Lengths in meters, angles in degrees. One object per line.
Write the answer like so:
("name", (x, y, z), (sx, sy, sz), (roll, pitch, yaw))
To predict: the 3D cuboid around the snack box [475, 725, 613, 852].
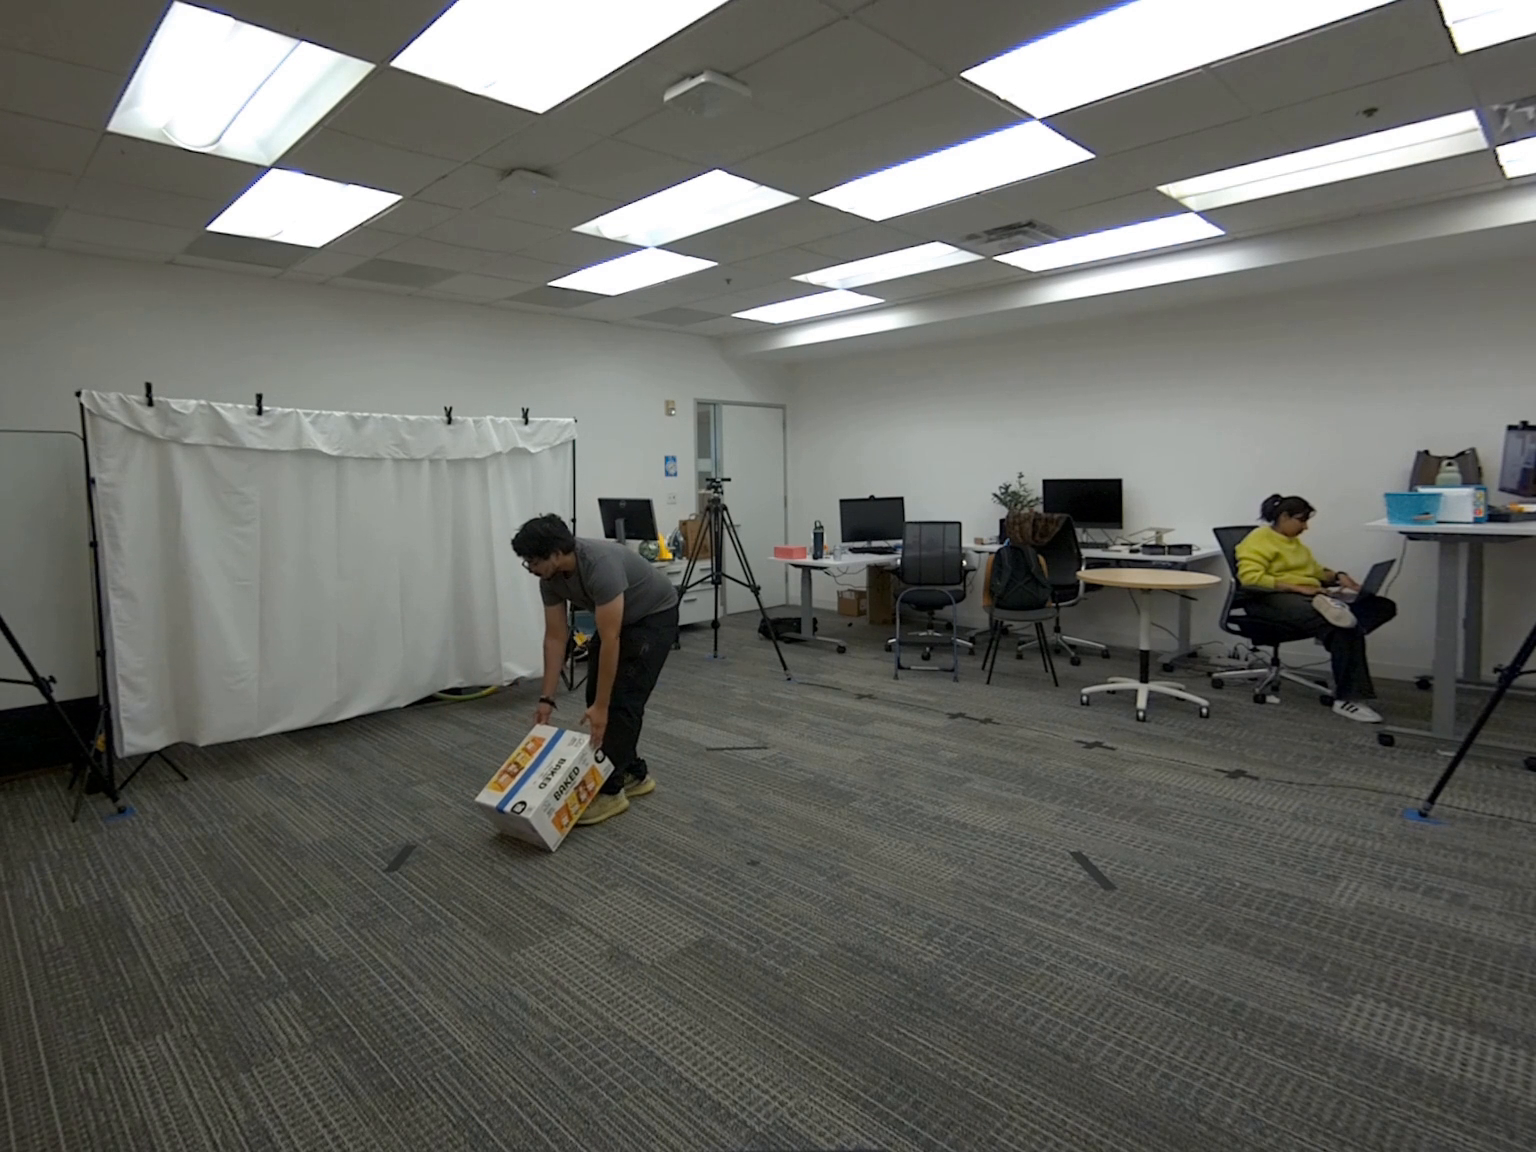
("snack box", (-0.885, 0.830, 3.394), (0.350, 0.199, 0.407), (1, 40, 37))
